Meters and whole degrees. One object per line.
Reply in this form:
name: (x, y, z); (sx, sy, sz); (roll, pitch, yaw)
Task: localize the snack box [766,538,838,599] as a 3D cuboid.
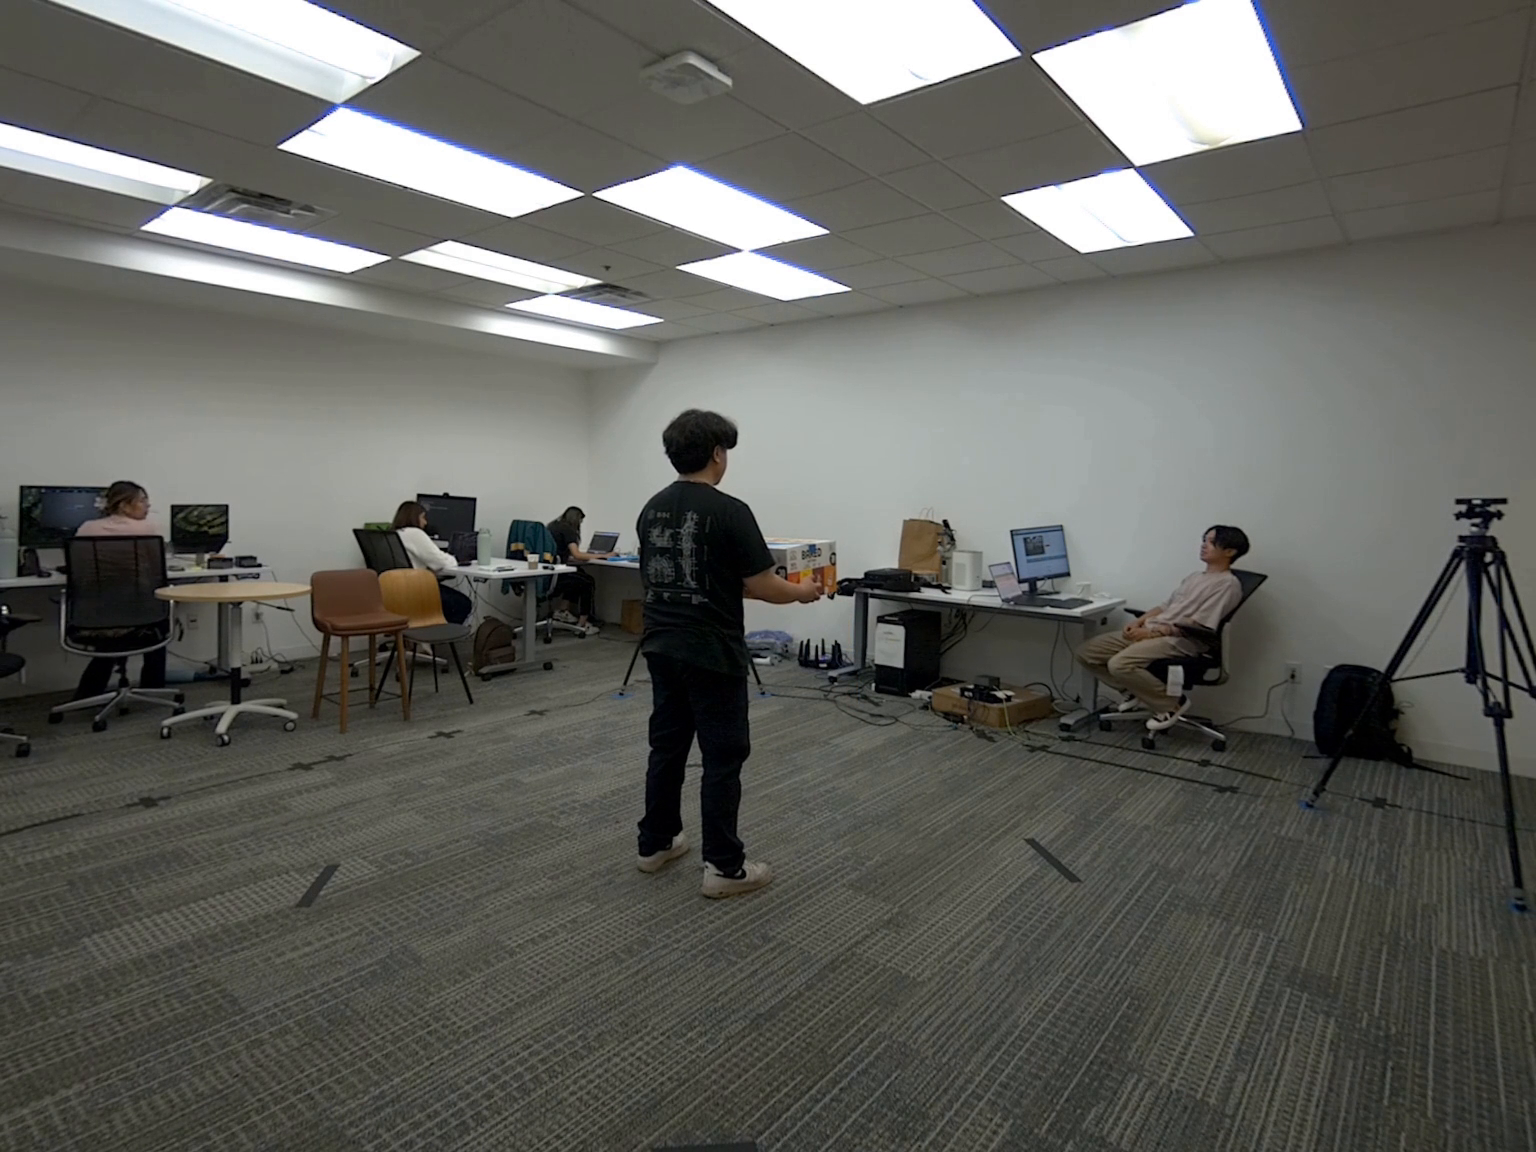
snack box: (-0.003, -0.034, 3.339); (0.418, 0.205, 0.331); (3, 8, 38)
